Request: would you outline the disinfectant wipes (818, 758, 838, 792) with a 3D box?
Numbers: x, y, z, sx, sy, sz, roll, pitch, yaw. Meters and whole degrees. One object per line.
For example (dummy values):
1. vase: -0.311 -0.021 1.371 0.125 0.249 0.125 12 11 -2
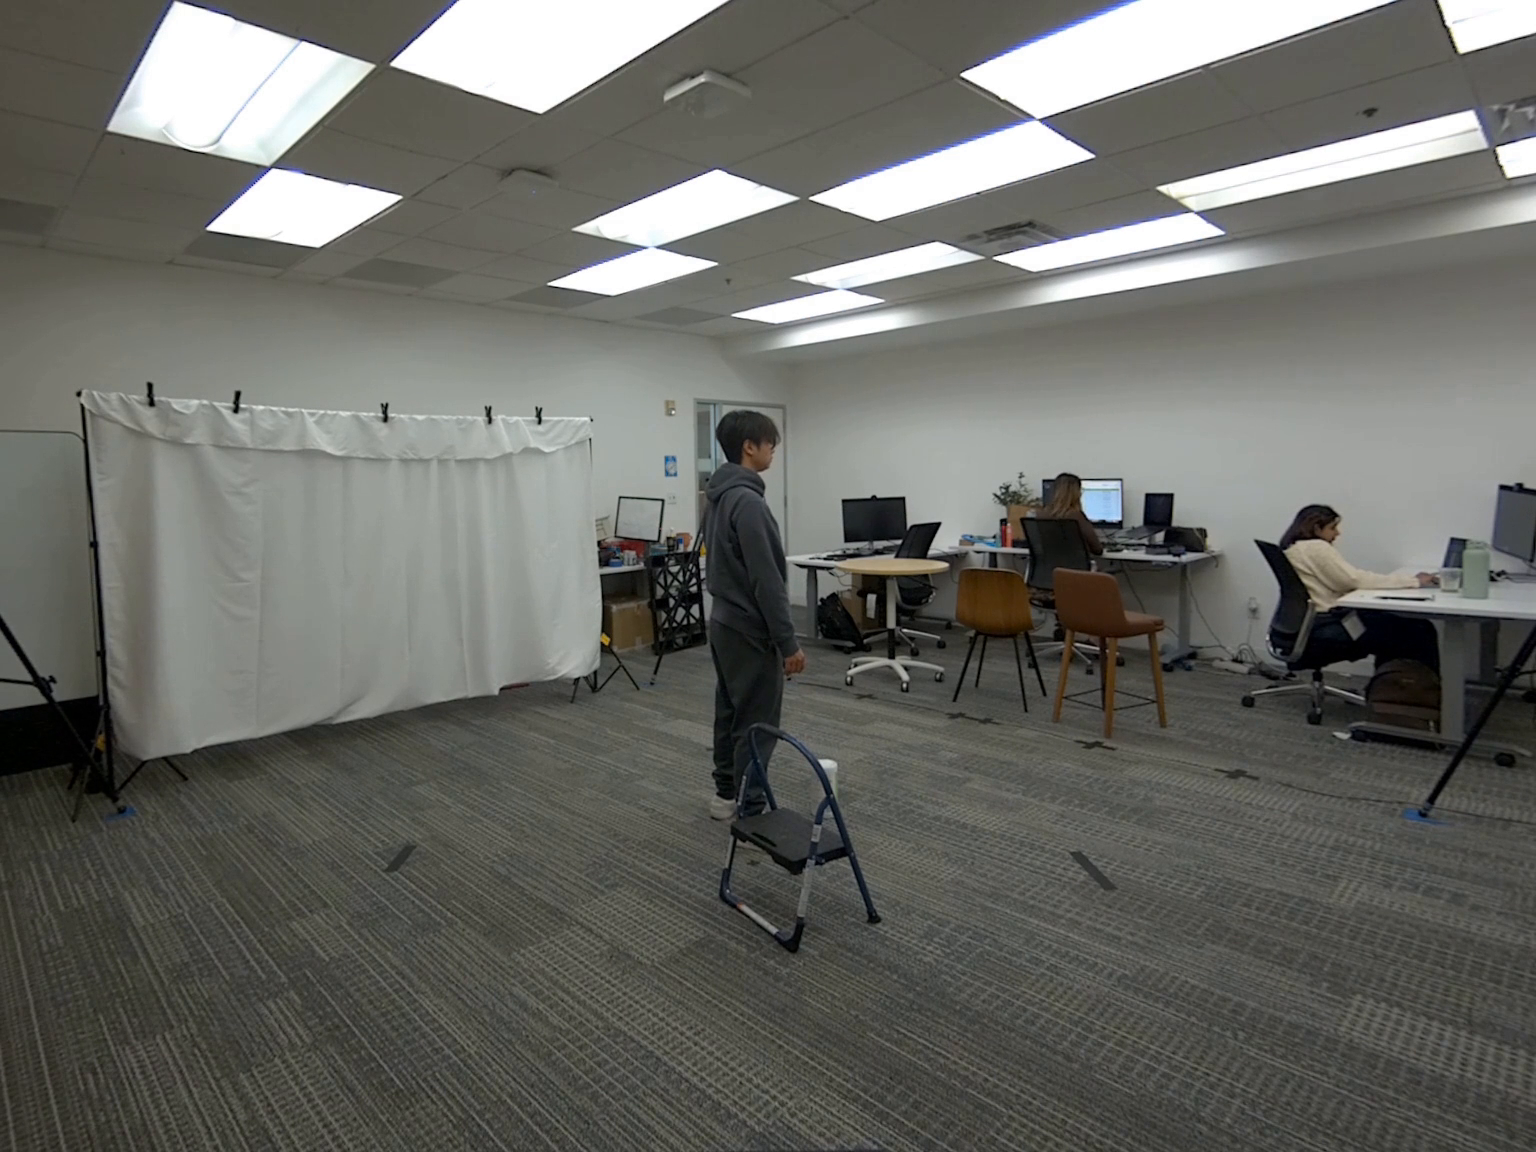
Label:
1. disinfectant wipes: 0.236 0.877 3.535 0.118 0.217 0.118 0 3 -2
